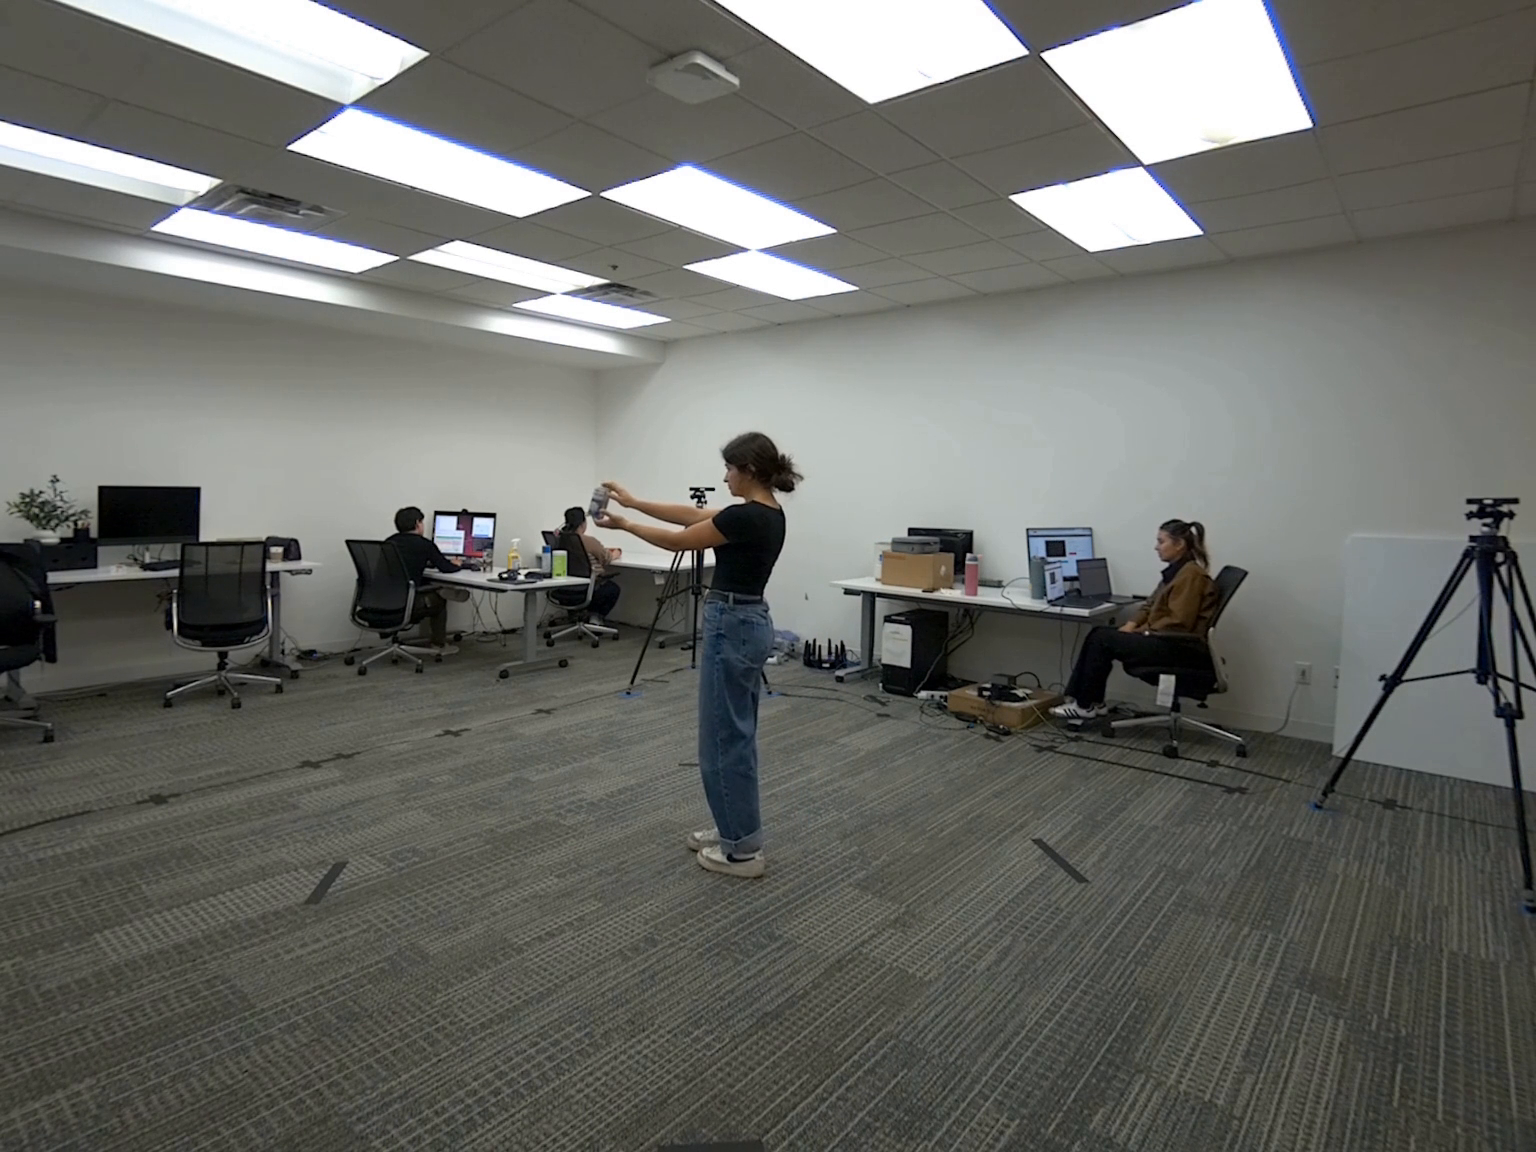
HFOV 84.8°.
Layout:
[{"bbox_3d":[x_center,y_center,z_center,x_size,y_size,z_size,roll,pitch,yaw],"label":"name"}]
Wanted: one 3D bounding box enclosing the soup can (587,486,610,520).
[{"bbox_3d":[-0.660,-0.290,3.279,0.067,0.121,0.067,14,0,-2],"label":"soup can"}]
